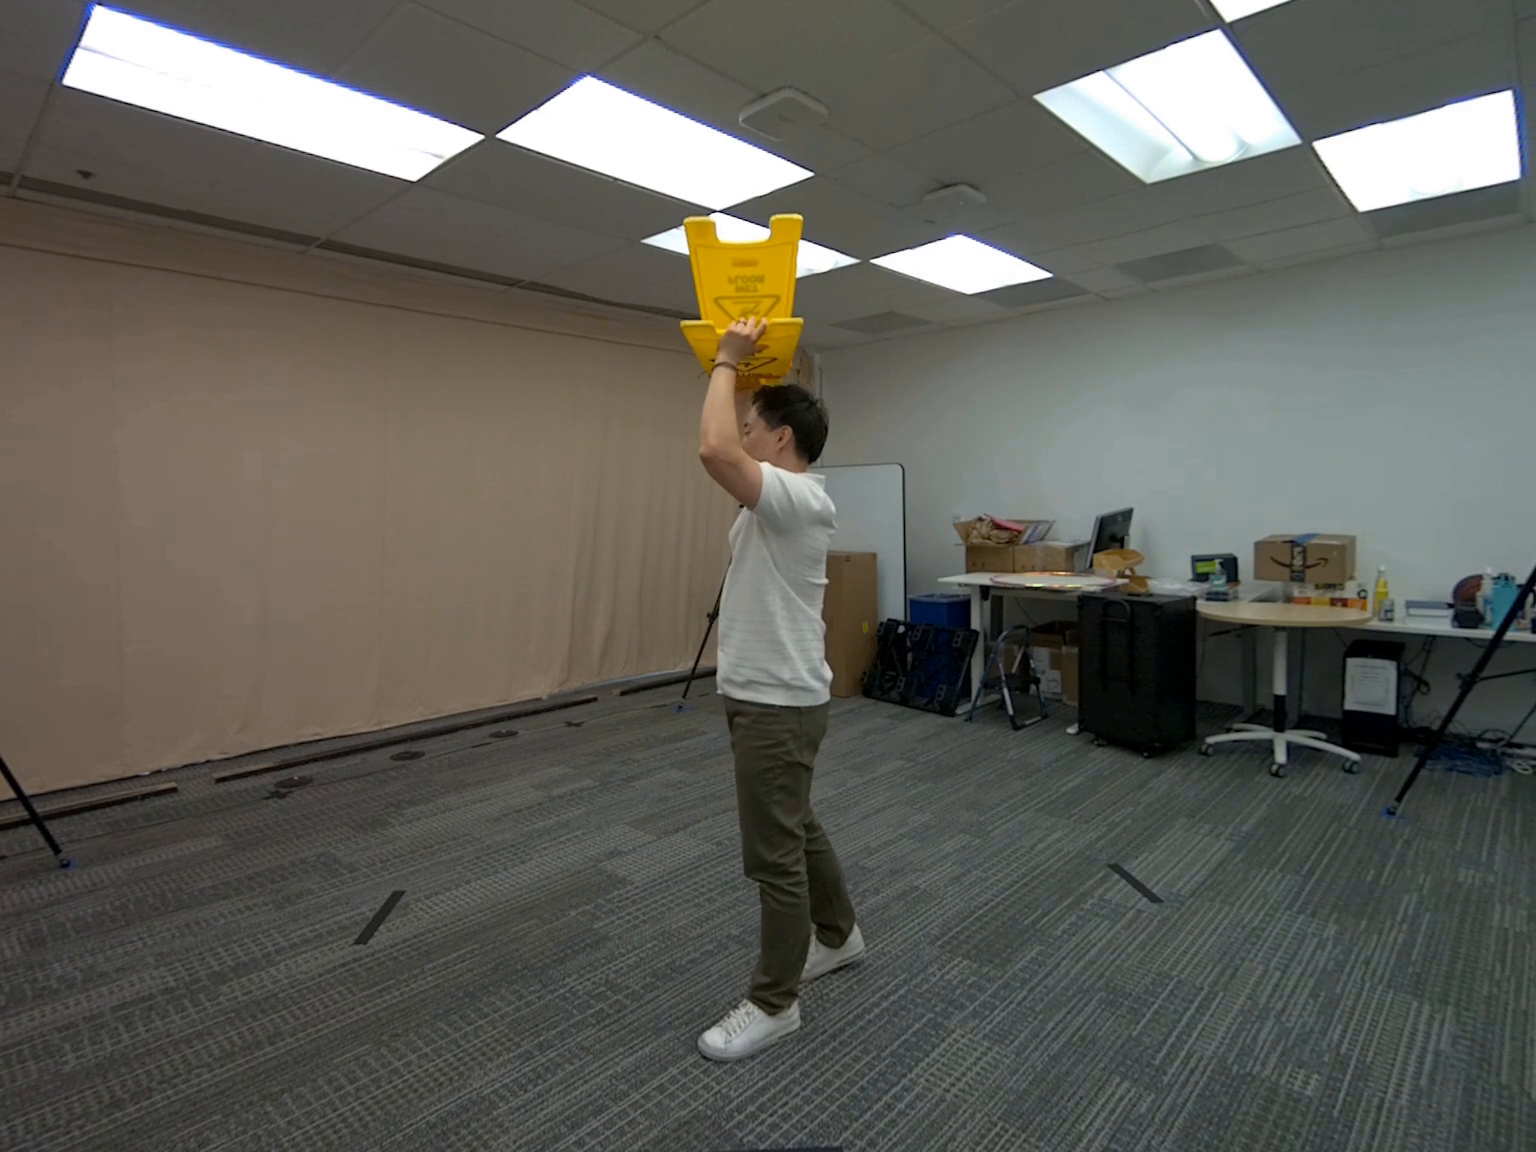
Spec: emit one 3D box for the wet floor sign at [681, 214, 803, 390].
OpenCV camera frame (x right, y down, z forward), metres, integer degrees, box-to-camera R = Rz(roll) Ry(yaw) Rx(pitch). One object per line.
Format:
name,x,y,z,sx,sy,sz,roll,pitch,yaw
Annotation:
wet floor sign,-0.058,-0.648,2.230,0.282,0.292,0.641,0,-10,-1
